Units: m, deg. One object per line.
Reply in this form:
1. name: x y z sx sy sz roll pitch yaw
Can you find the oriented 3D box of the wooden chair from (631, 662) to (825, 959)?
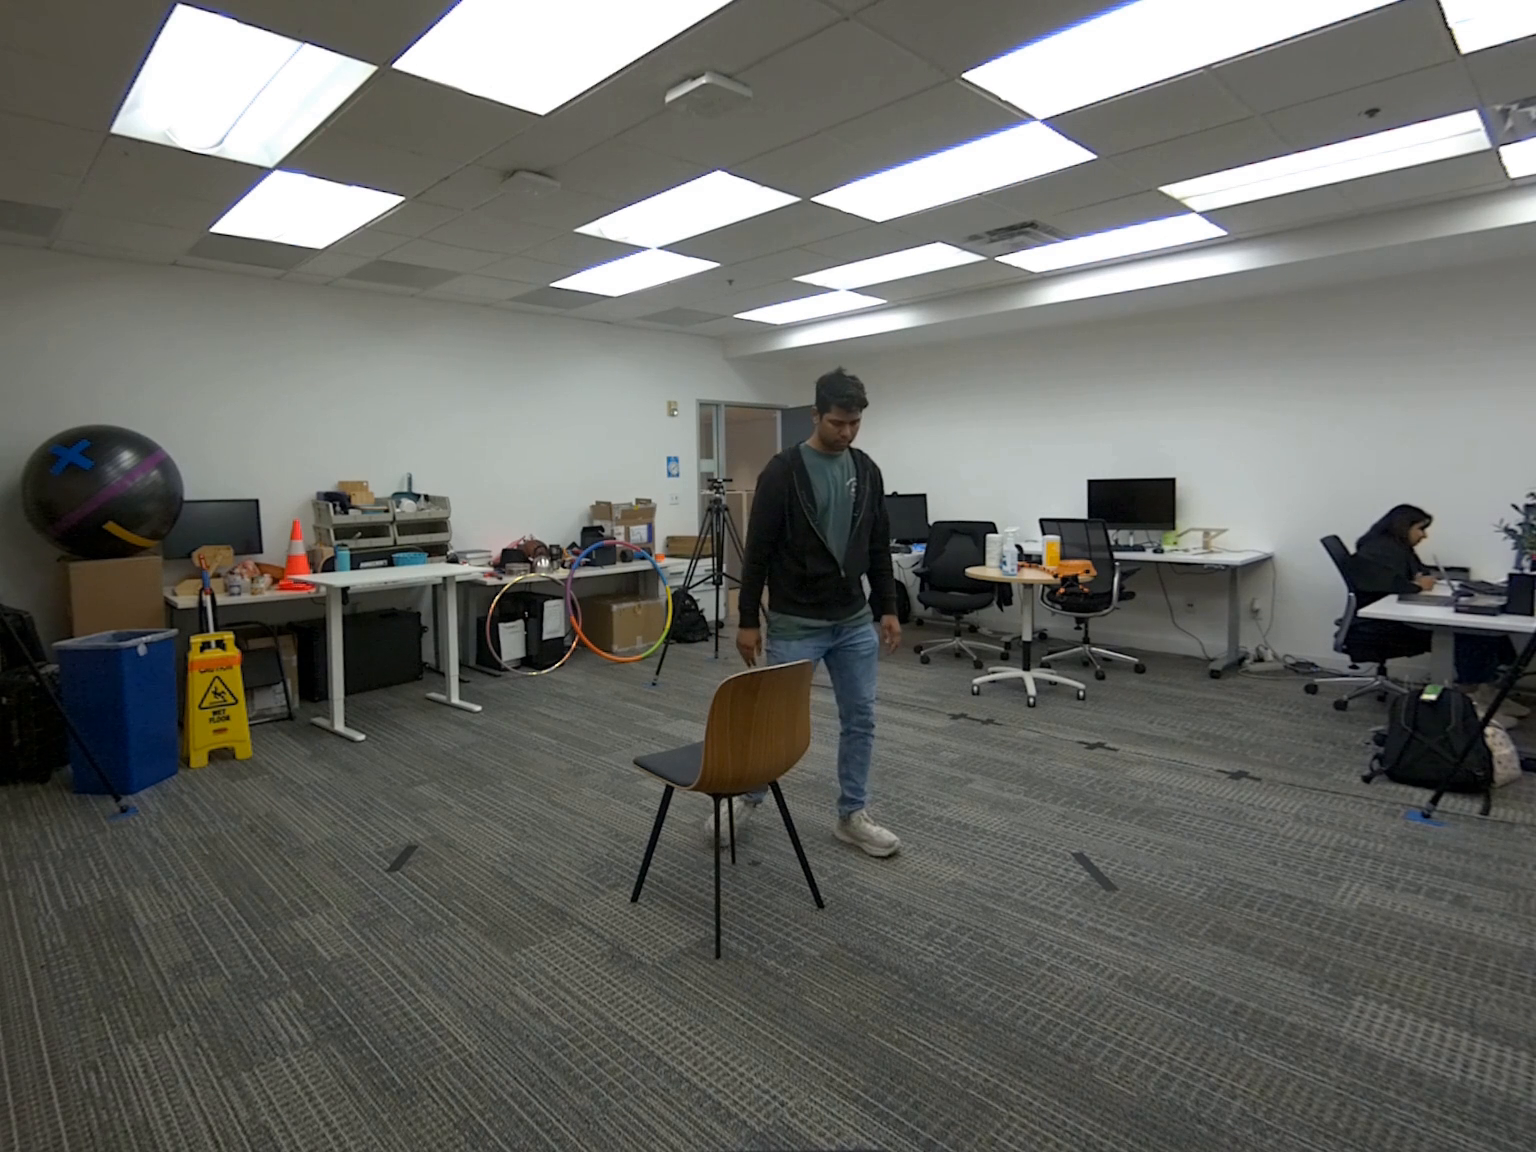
1. wooden chair: -0.143 0.659 2.777 0.466 0.871 0.541 -5 11 -41
